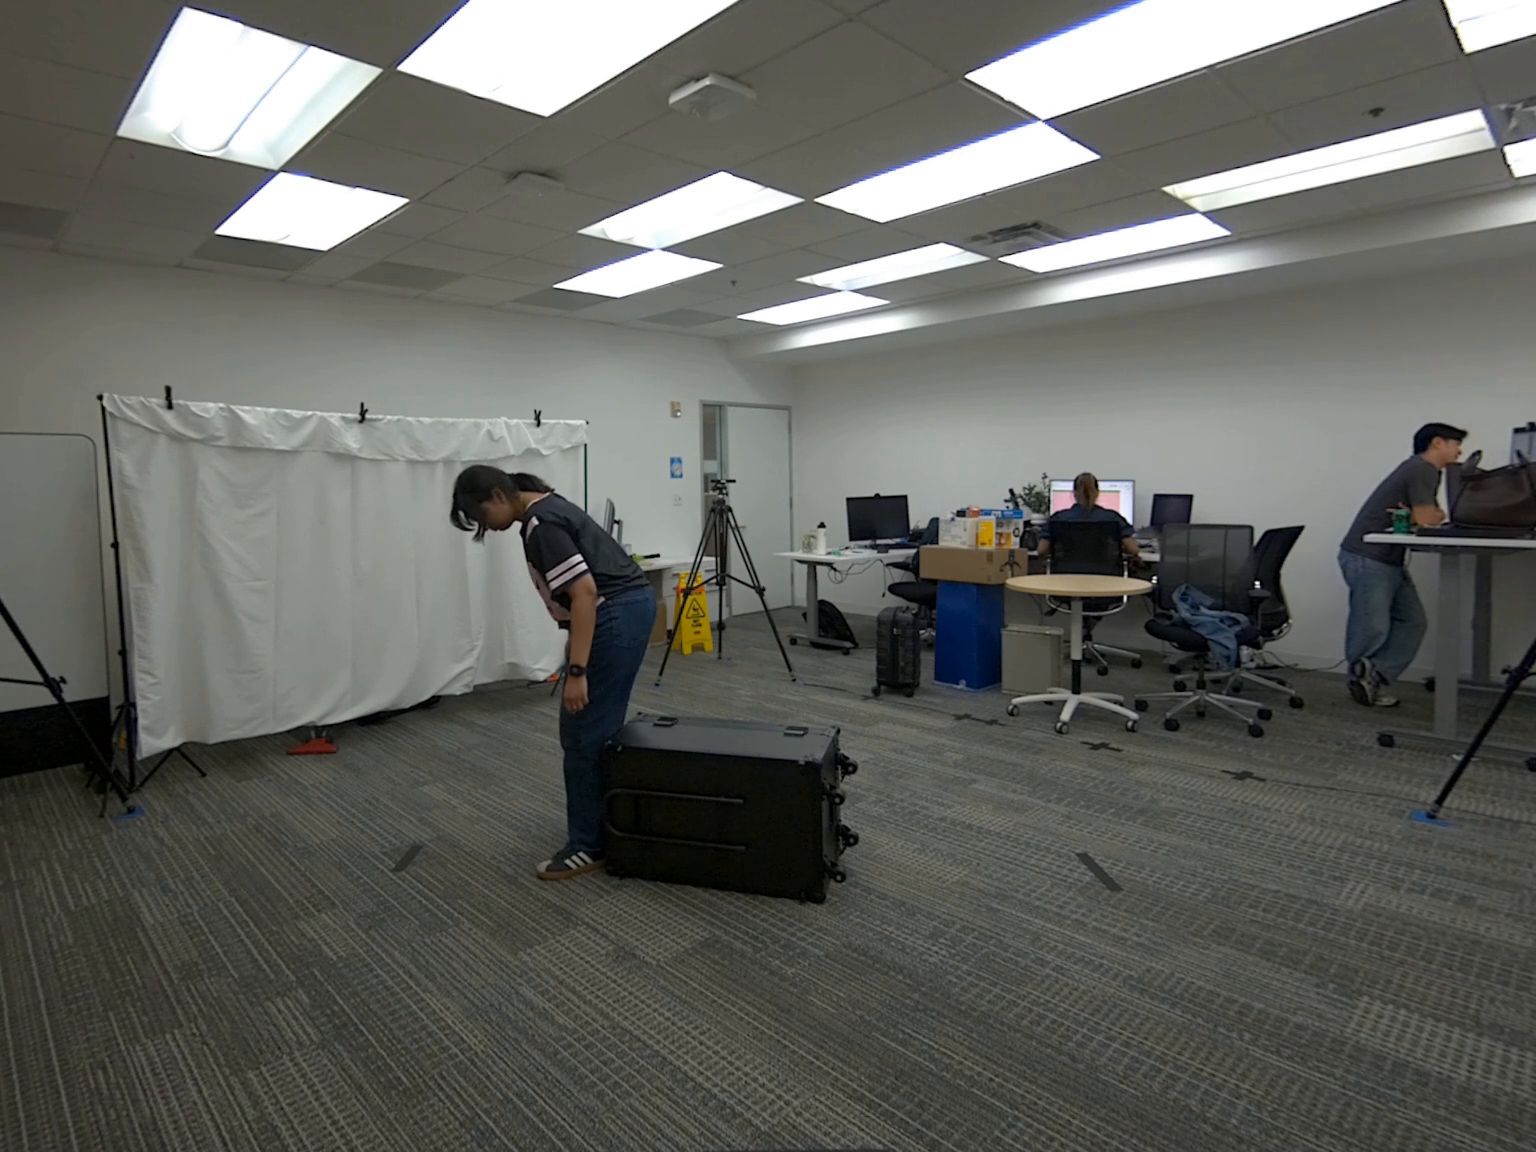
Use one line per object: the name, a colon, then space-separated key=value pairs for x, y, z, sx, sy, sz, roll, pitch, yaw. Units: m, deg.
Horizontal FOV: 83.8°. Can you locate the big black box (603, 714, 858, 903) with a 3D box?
big black box: x=-0.118 y=0.796 z=3.041 sx=0.883 sy=0.521 sz=0.381 roll=0 pitch=6 yaw=17
